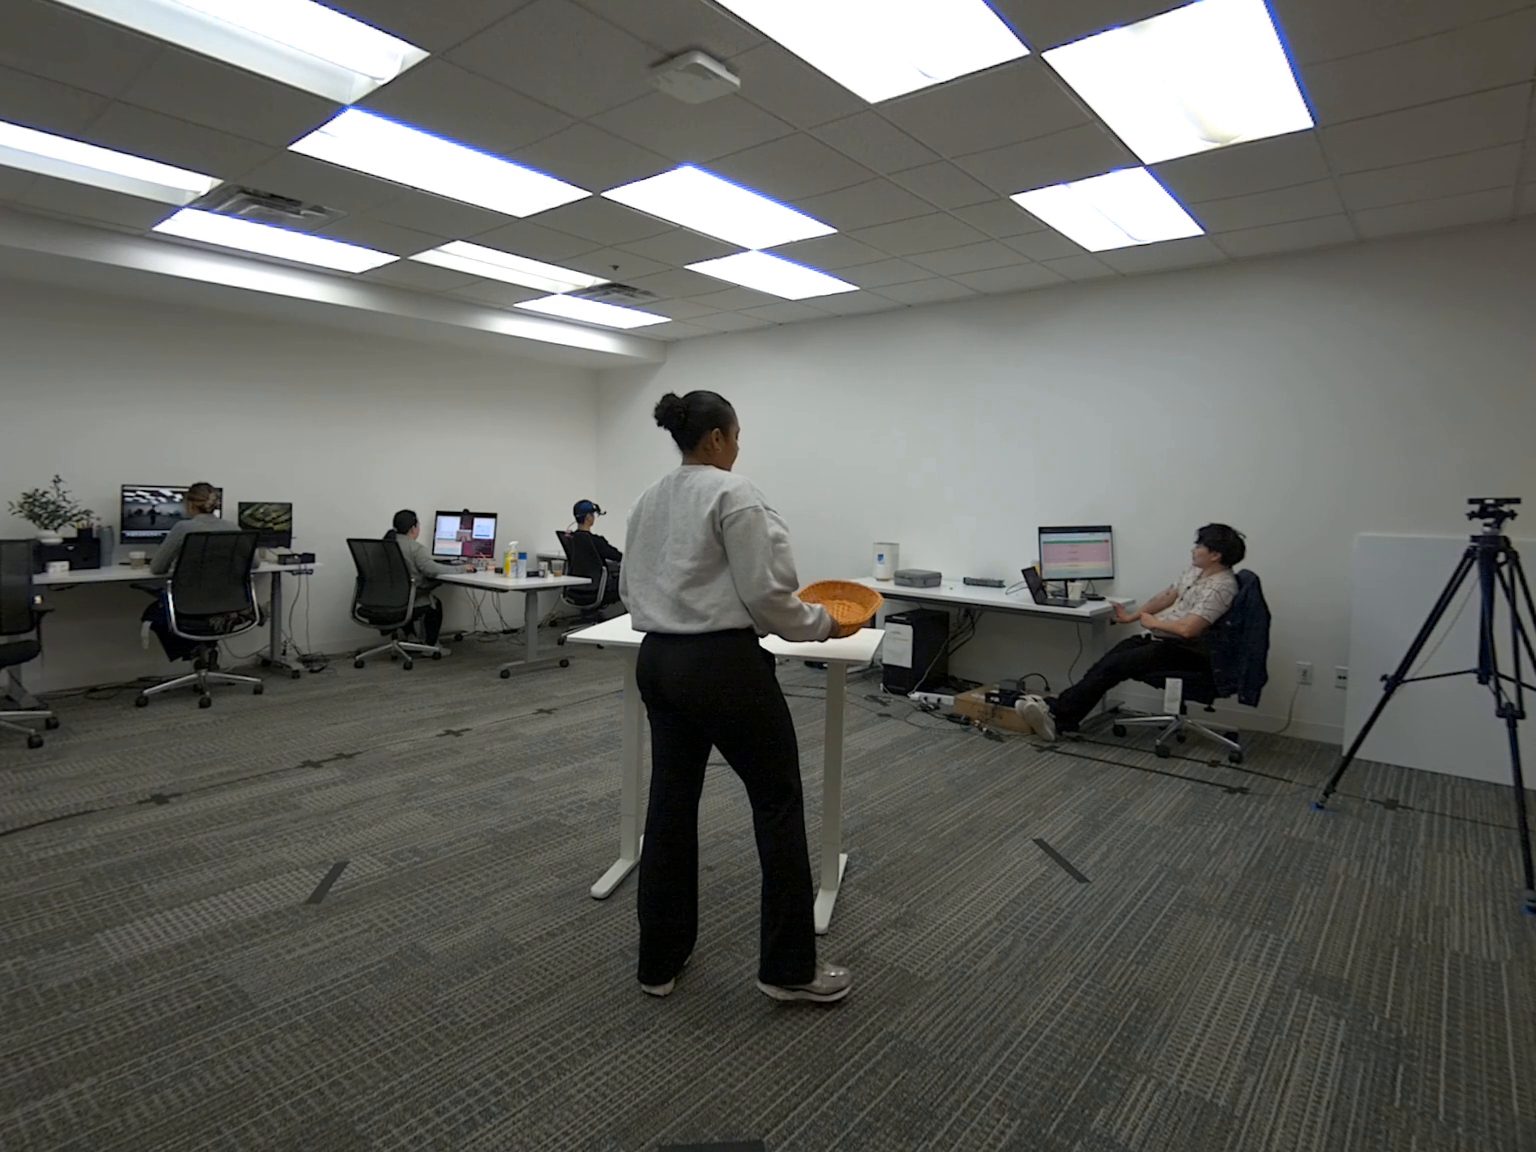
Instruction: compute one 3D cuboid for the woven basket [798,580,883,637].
[{"bbox_3d":[0.217,0.119,2.606,0.259,0.072,0.346,13,23,23],"label":"woven basket"}]
